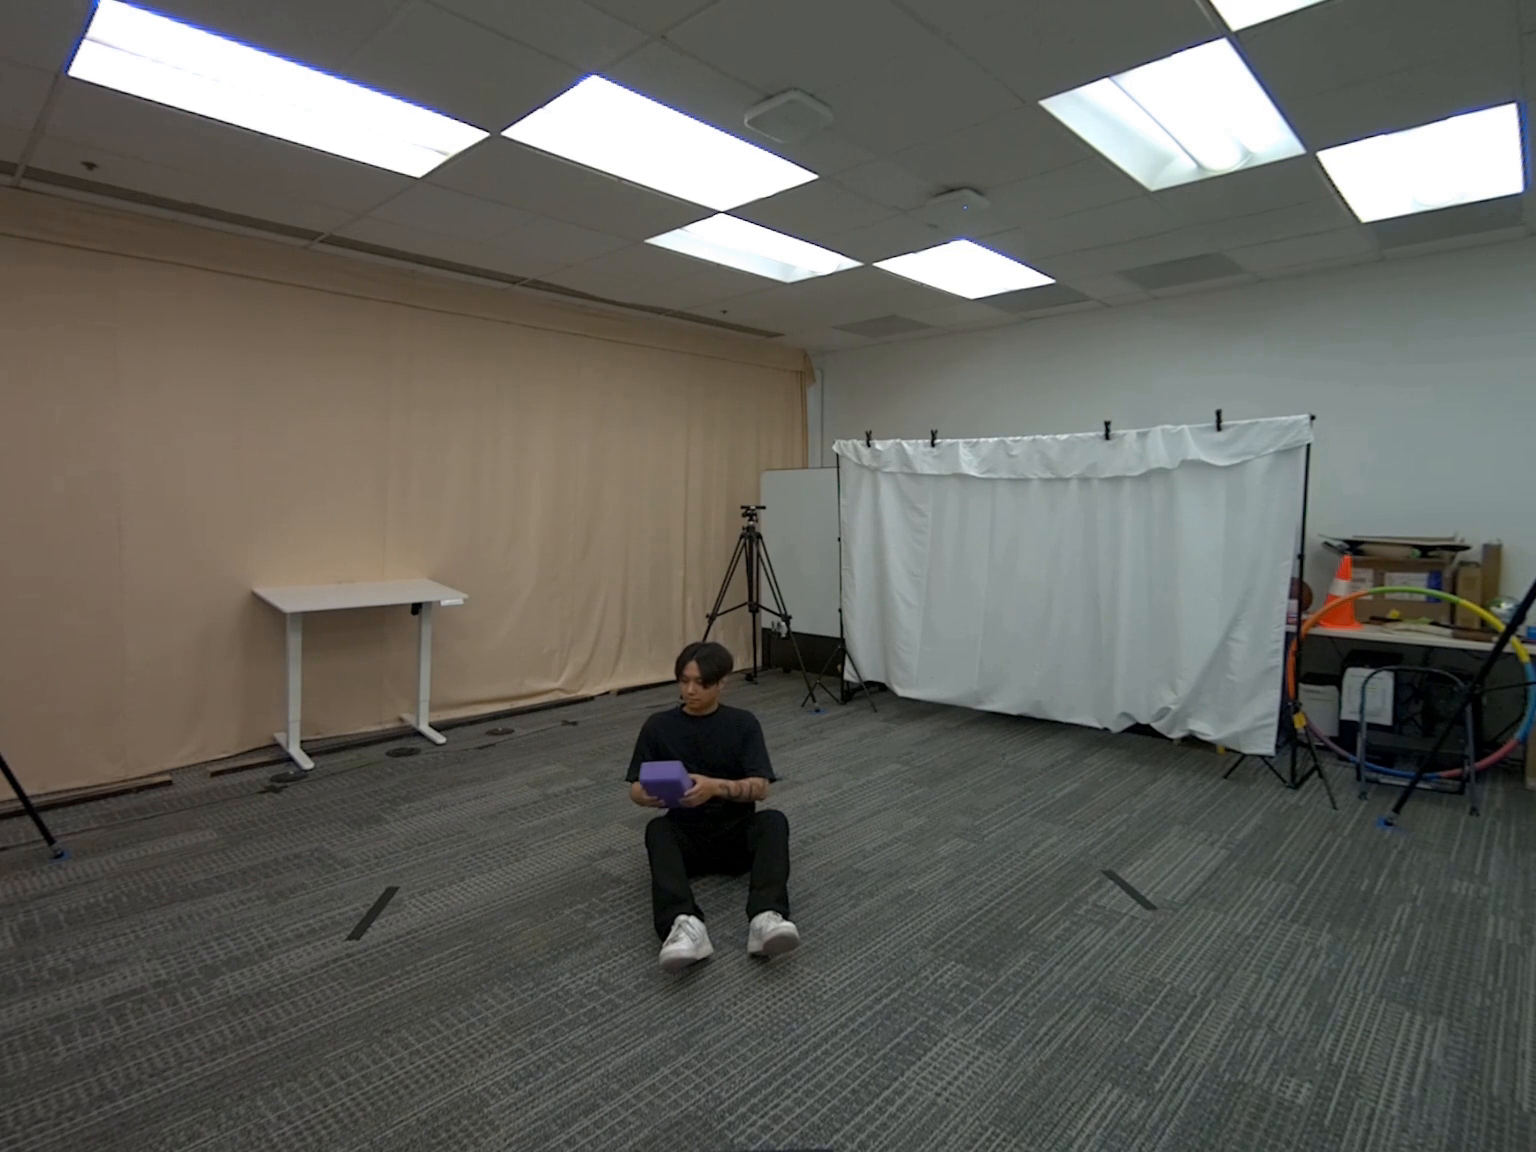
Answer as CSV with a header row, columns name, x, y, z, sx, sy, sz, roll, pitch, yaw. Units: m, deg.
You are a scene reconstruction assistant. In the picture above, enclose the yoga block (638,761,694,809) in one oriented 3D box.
name,x,y,z,sx,sy,sz,roll,pitch,yaw
yoga block,-0.357,0.735,2.967,0.150,0.077,0.223,-2,-38,9
